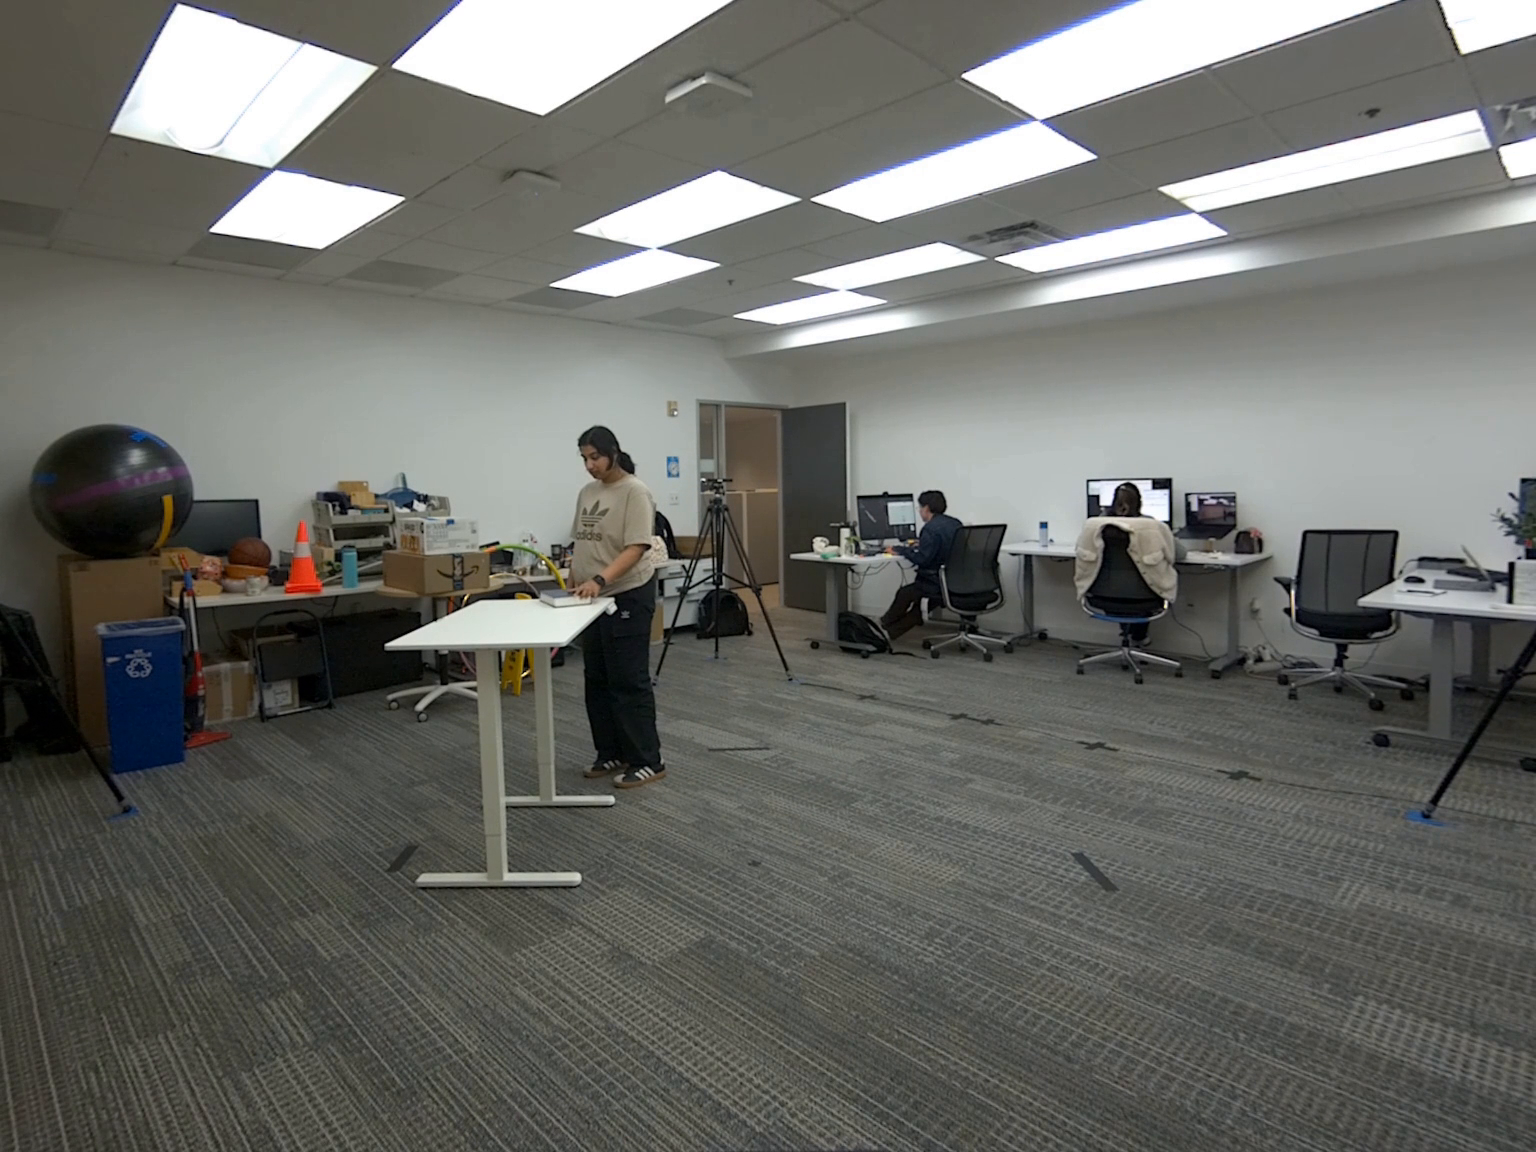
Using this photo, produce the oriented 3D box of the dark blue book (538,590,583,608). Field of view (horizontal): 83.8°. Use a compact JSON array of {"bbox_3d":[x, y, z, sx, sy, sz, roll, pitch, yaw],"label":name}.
[{"bbox_3d":[-0.886,0.095,3.691,0.160,0.045,0.252,-3,7,-27],"label":"dark blue book"}]
